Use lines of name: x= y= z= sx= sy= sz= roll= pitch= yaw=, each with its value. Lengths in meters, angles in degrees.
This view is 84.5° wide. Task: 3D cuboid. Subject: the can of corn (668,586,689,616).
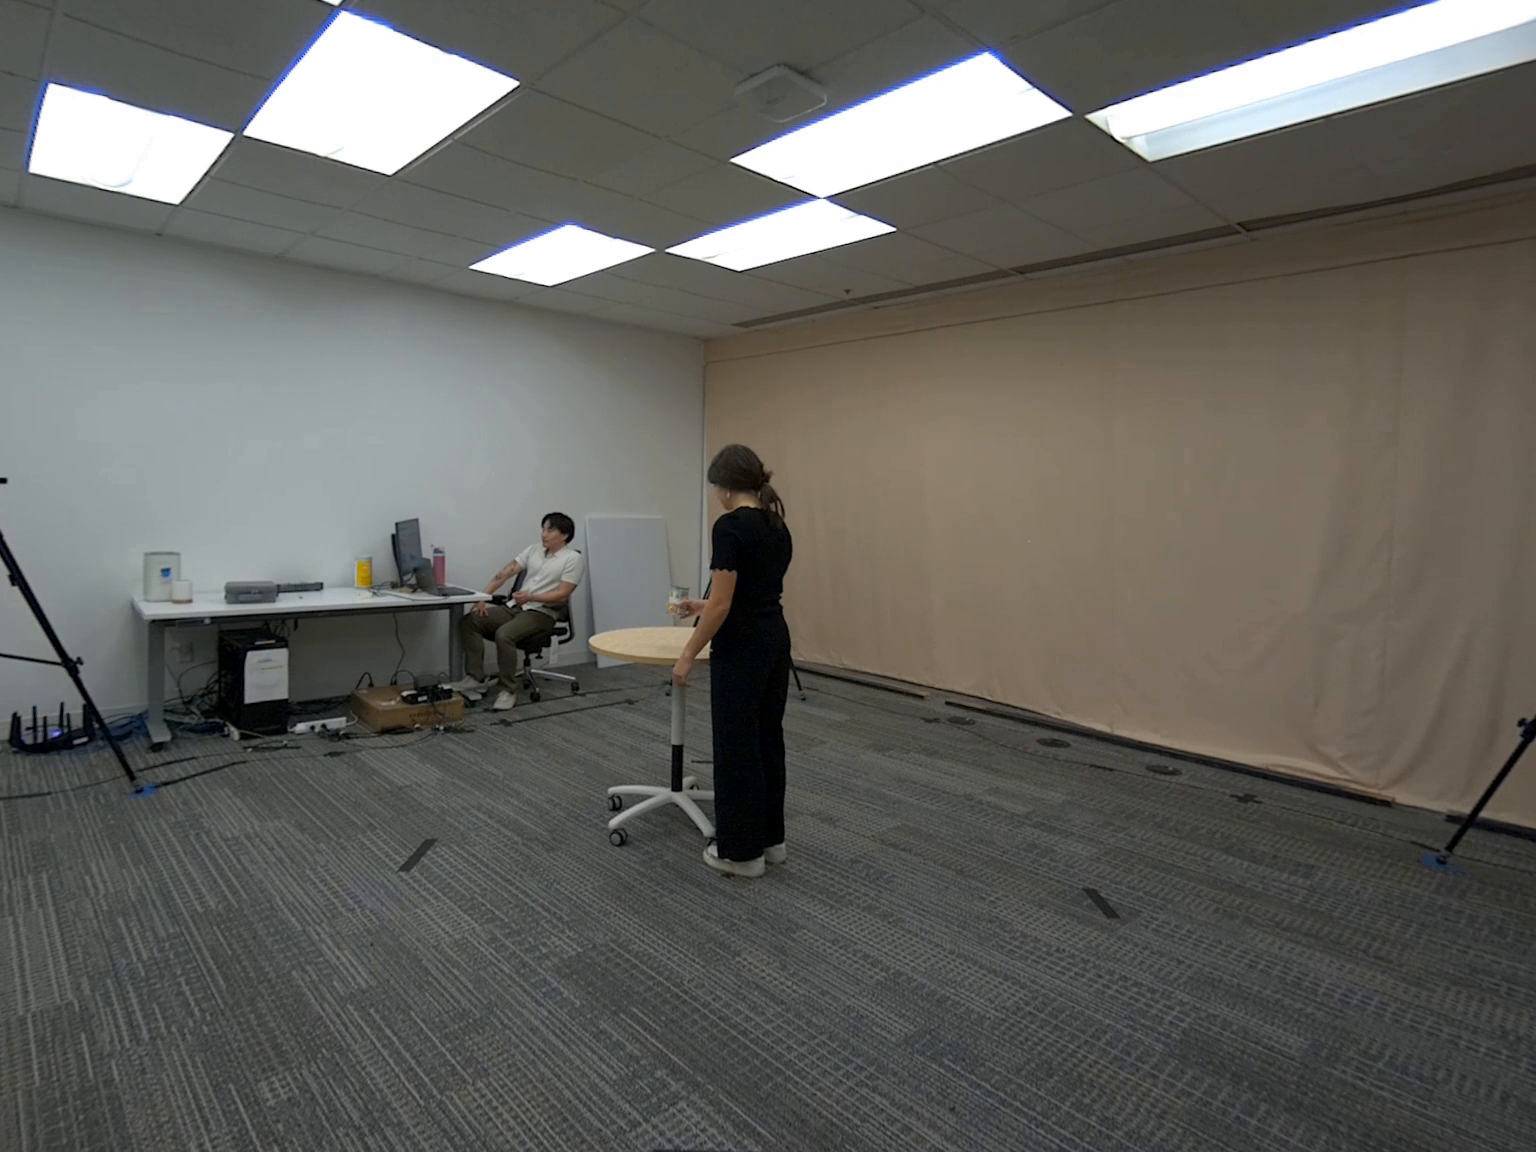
can of corn: x=-0.366 y=0.097 z=3.392 sx=0.074 sy=0.111 sz=0.074 roll=5 pitch=3 yaw=-2
